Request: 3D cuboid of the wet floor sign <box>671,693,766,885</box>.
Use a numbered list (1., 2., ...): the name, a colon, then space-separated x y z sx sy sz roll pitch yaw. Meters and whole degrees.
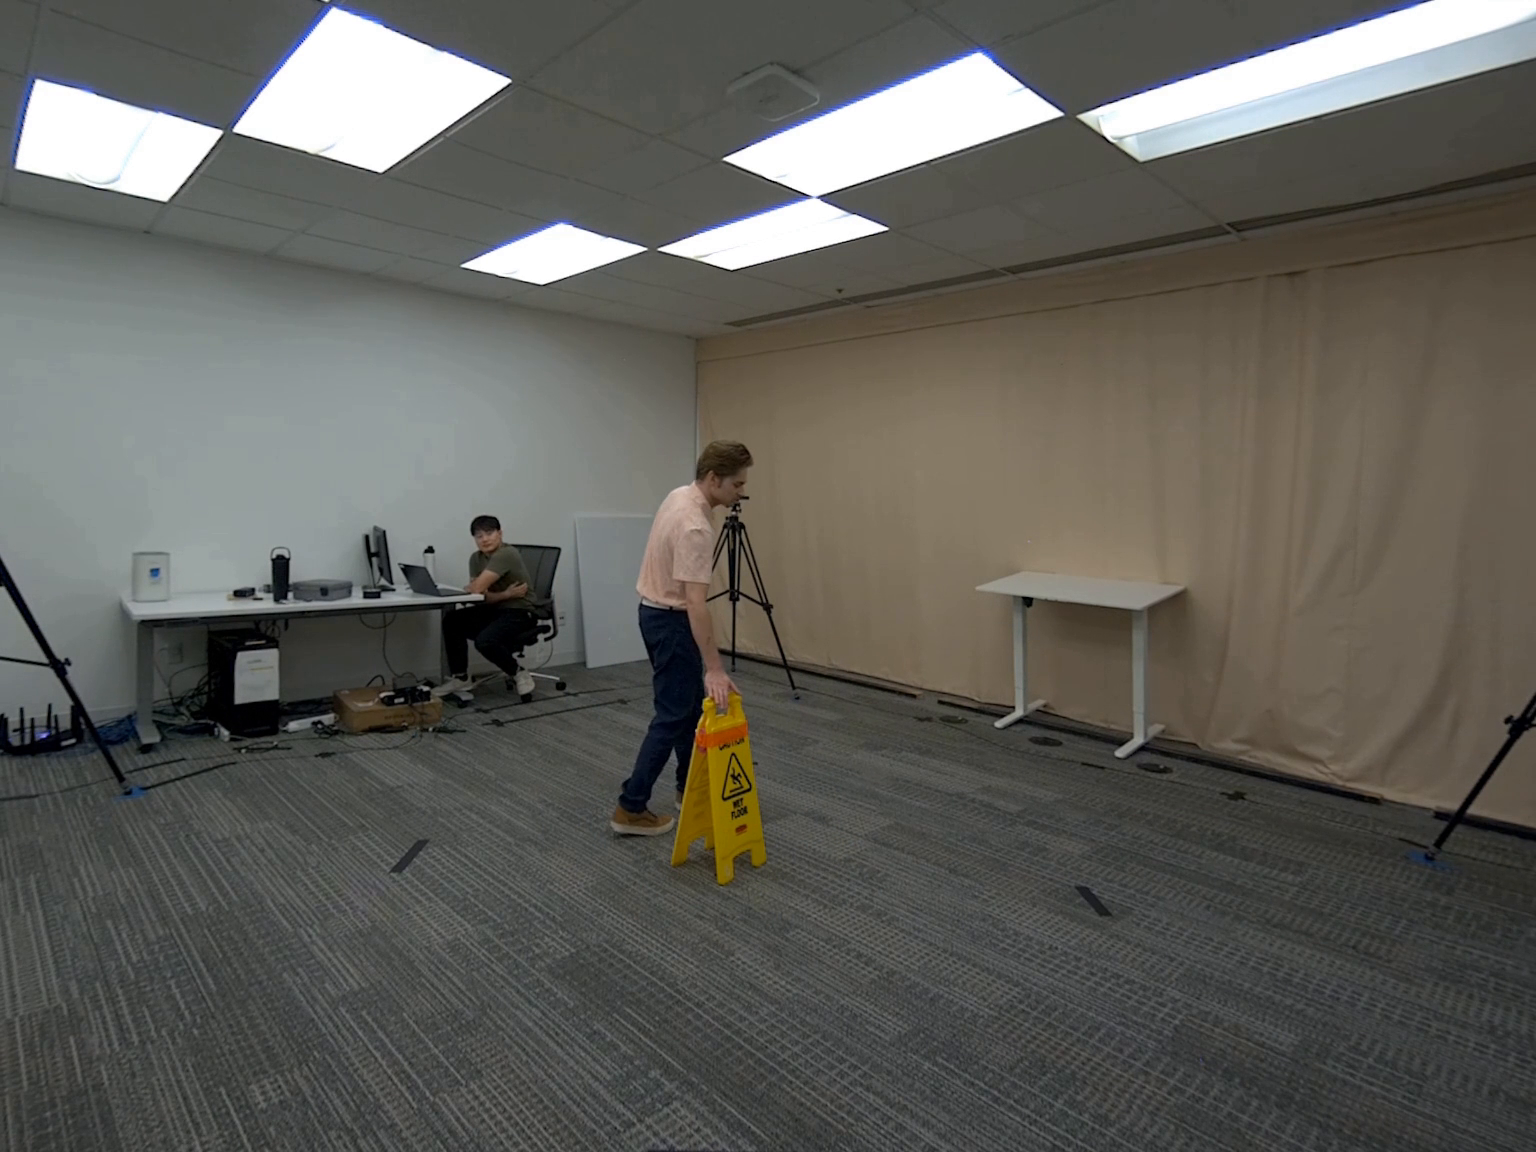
1. wet floor sign: -0.184 0.771 3.179 0.297 0.644 0.276 5 5 37
